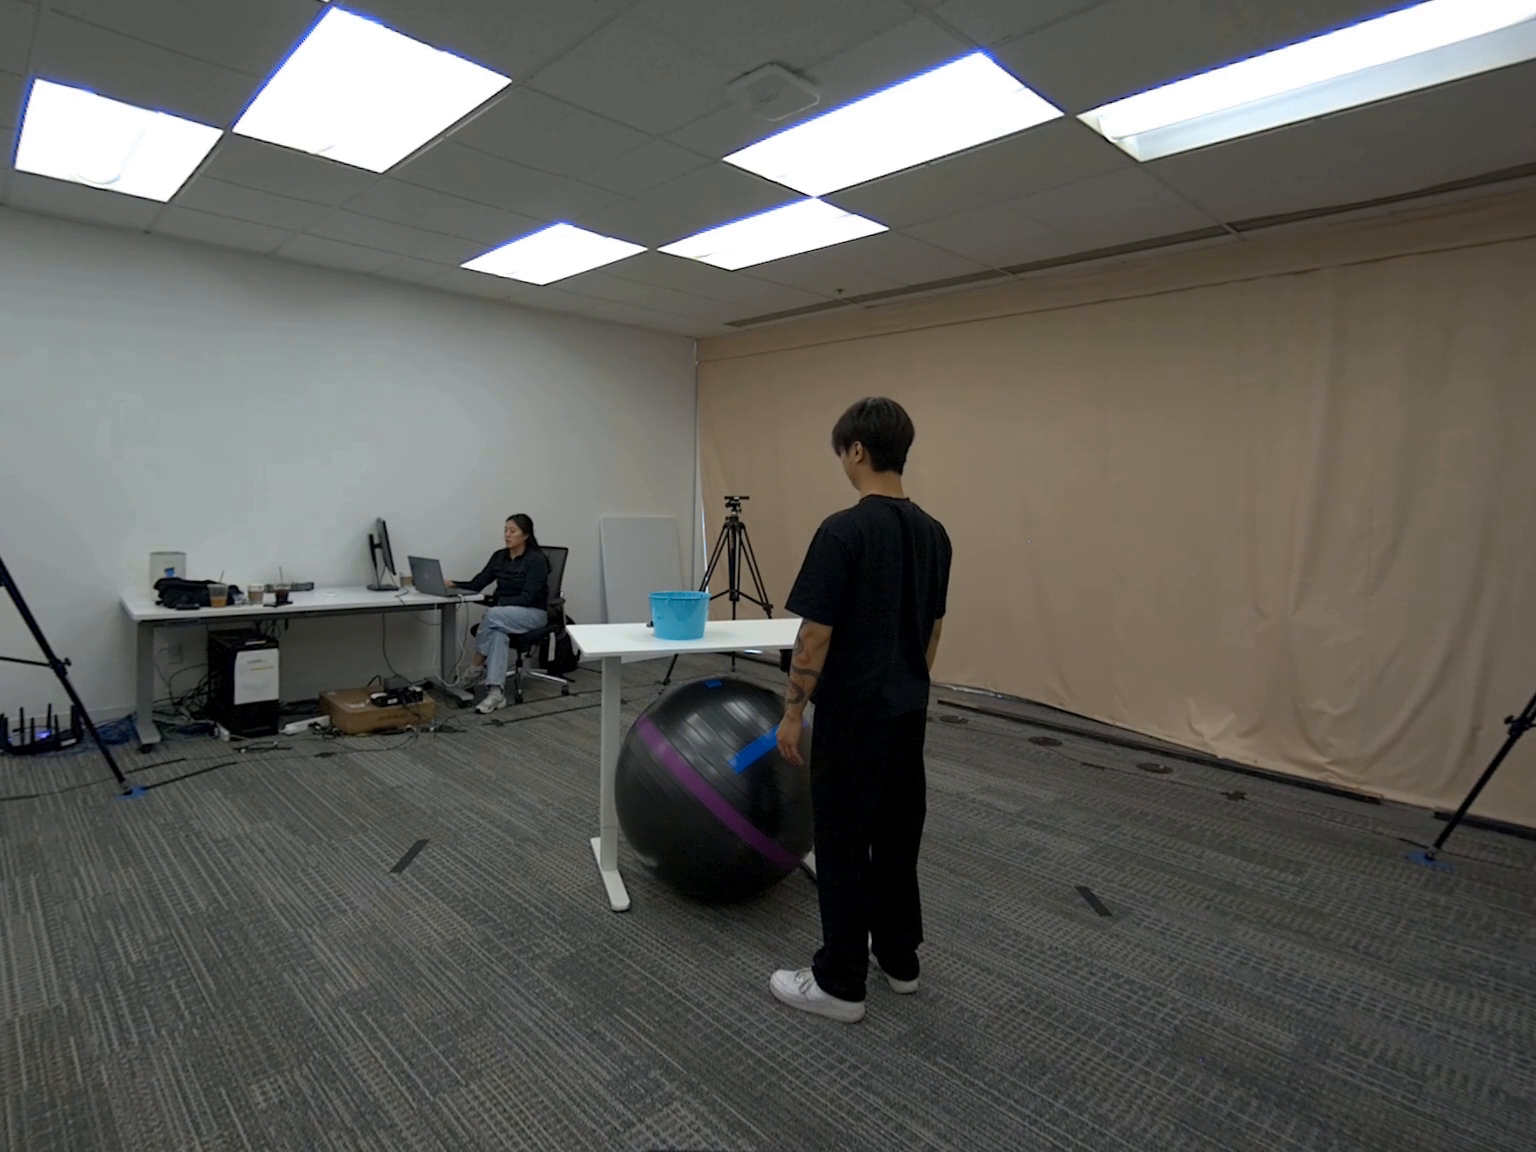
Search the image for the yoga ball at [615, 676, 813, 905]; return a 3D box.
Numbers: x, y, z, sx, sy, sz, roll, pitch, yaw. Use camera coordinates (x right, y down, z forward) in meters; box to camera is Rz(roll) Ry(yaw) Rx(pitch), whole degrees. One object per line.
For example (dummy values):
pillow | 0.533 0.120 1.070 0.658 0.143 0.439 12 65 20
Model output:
yoga ball | -0.176 0.752 3.006 0.757 0.756 0.761 1 4 -1
